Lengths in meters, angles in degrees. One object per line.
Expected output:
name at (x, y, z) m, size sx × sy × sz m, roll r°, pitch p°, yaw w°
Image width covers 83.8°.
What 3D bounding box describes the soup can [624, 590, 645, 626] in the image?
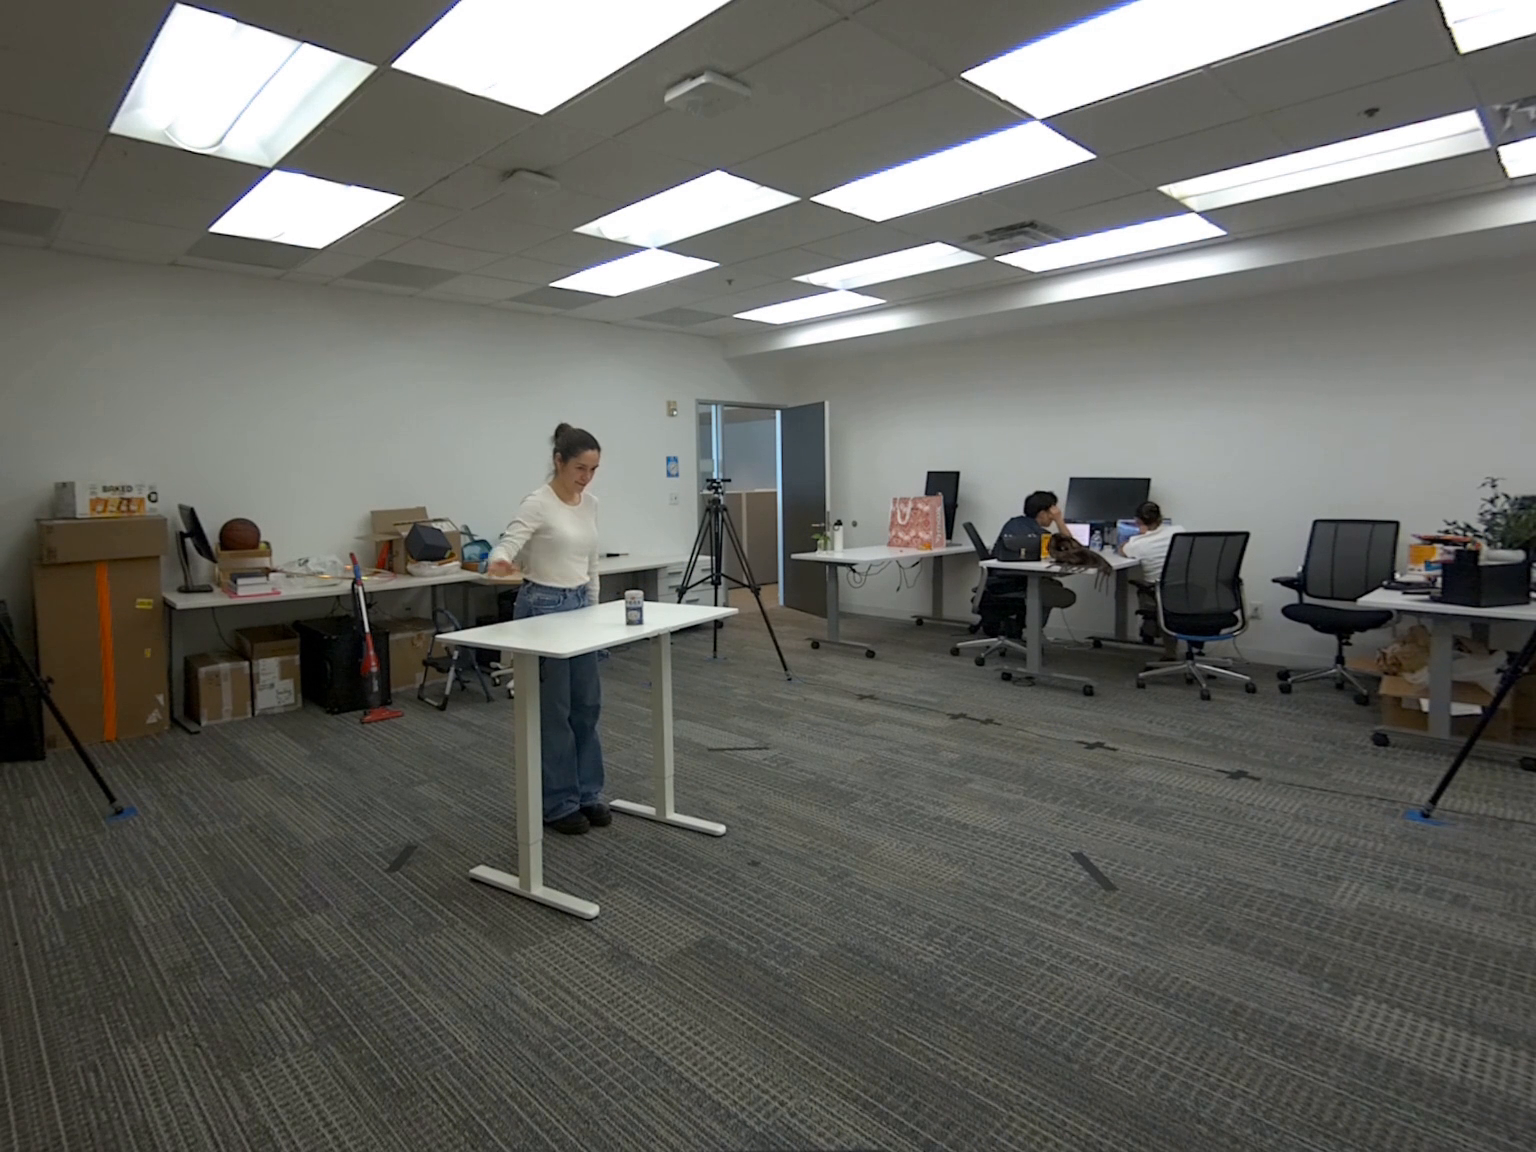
soup can at (-0.479, 0.116, 3.070) m, size 0.067 × 0.121 × 0.067 m, roll -1°, pitch 5°, yaw -2°
